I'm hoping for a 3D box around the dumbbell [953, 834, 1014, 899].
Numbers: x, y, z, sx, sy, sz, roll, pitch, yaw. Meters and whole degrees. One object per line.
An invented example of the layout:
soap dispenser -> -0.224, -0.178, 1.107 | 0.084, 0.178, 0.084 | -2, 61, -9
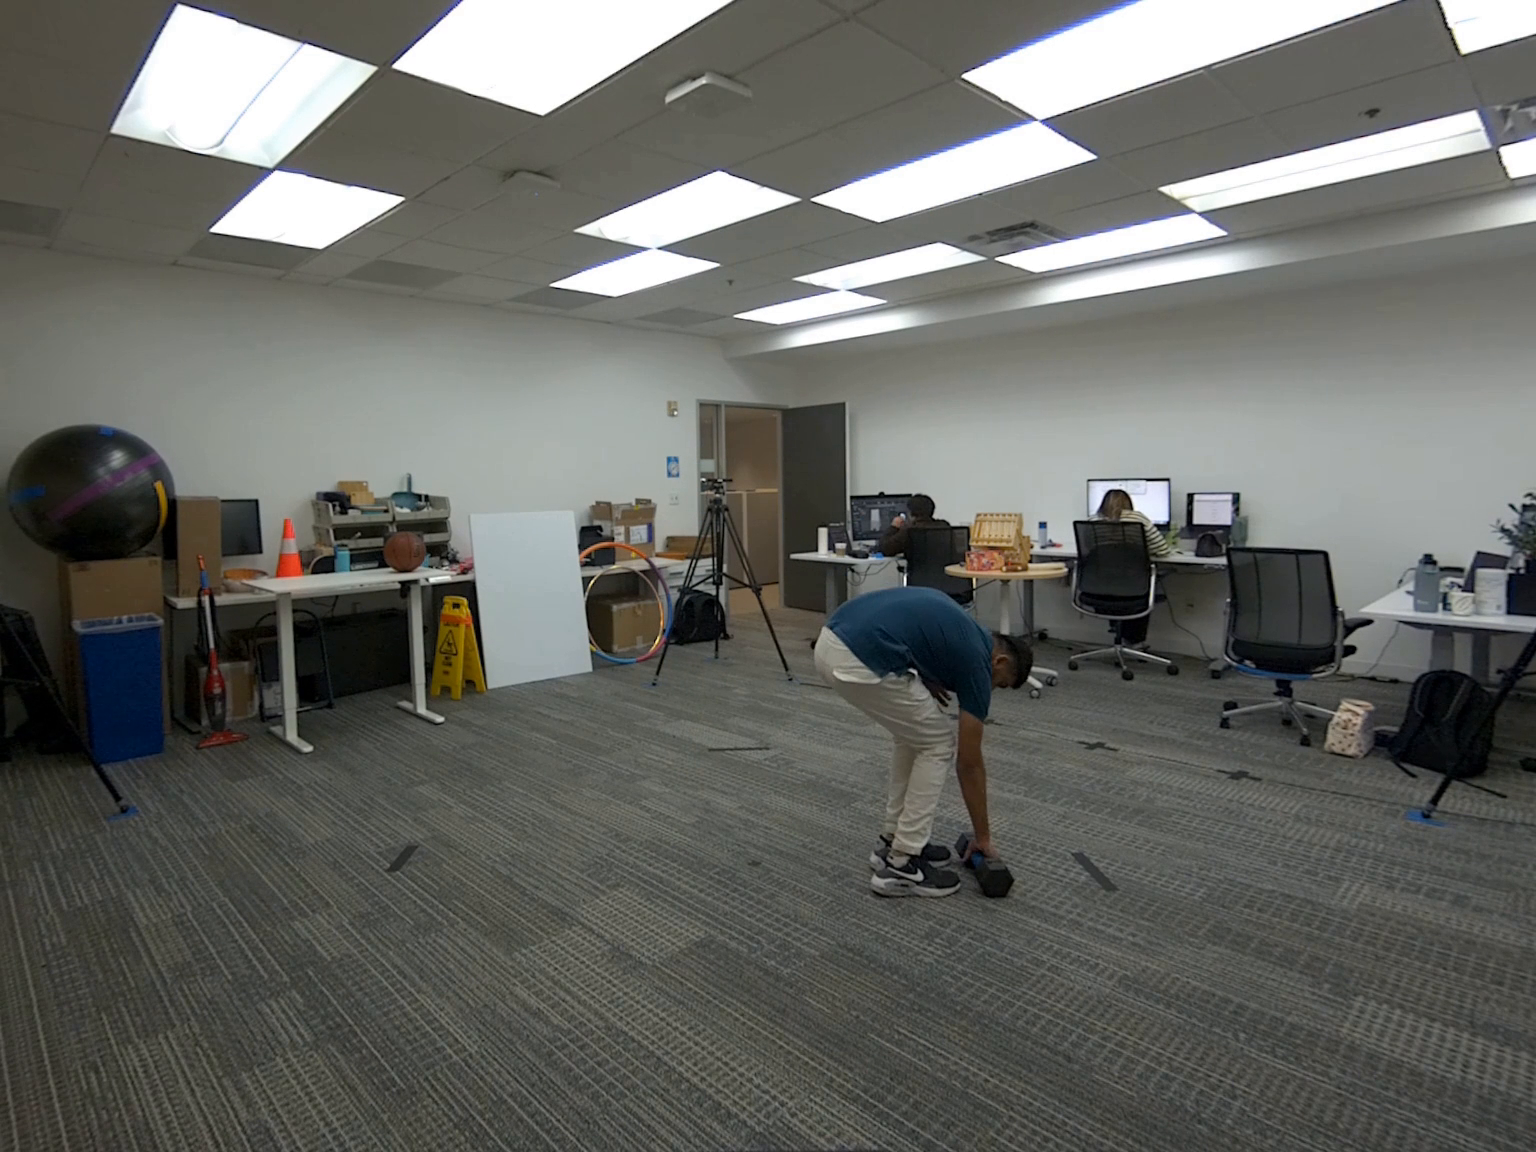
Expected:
dumbbell -> 0.743, 0.989, 2.952 | 0.109, 0.122, 0.296 | -32, 7, 0
